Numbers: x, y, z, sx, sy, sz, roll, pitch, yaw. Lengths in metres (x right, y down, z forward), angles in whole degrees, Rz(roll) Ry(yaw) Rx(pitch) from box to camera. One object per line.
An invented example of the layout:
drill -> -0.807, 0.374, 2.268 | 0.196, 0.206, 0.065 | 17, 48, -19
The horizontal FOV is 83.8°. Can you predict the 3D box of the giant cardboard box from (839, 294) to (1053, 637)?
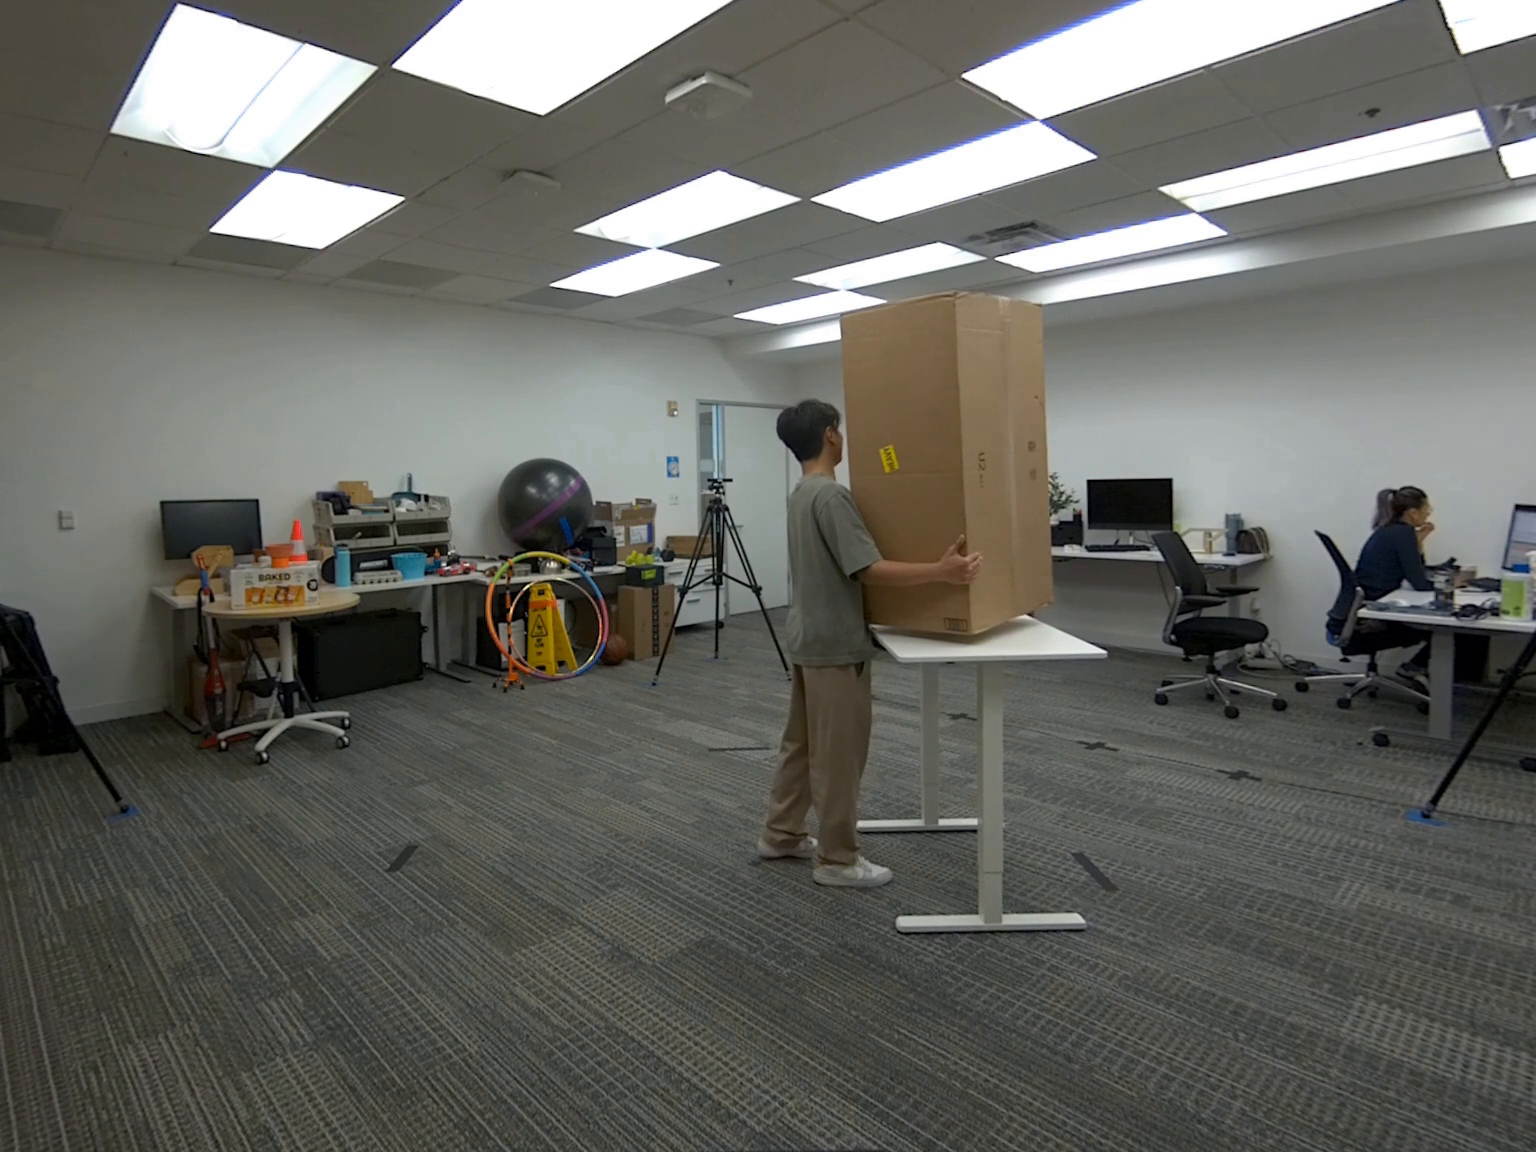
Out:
giant cardboard box -> 0.608, -0.379, 2.868 | 0.439, 1.019, 0.564 | 2, 9, 43
